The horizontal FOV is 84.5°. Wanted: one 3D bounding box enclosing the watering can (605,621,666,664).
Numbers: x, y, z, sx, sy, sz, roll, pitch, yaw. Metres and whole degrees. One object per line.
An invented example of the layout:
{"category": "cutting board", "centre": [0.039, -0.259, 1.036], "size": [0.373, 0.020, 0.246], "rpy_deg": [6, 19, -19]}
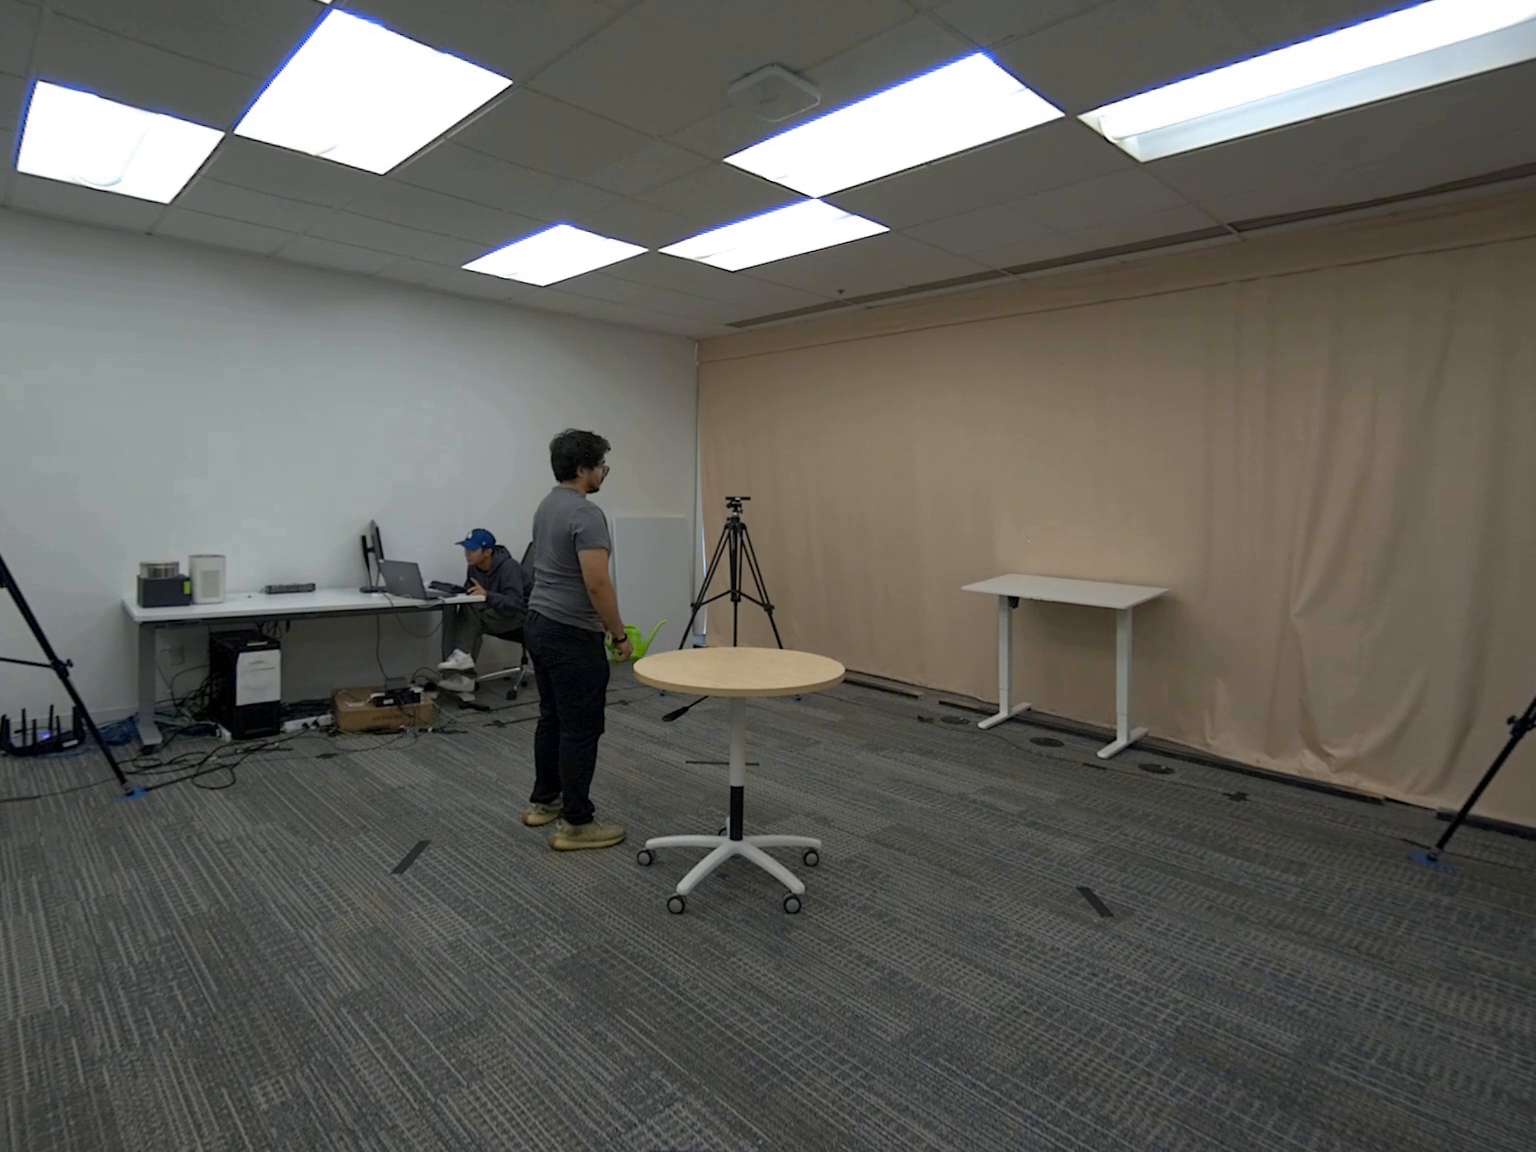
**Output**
{"category": "watering can", "centre": [-0.587, 0.286, 3.654], "size": [0.280, 0.181, 0.095], "rpy_deg": [-12, -30, 8]}
